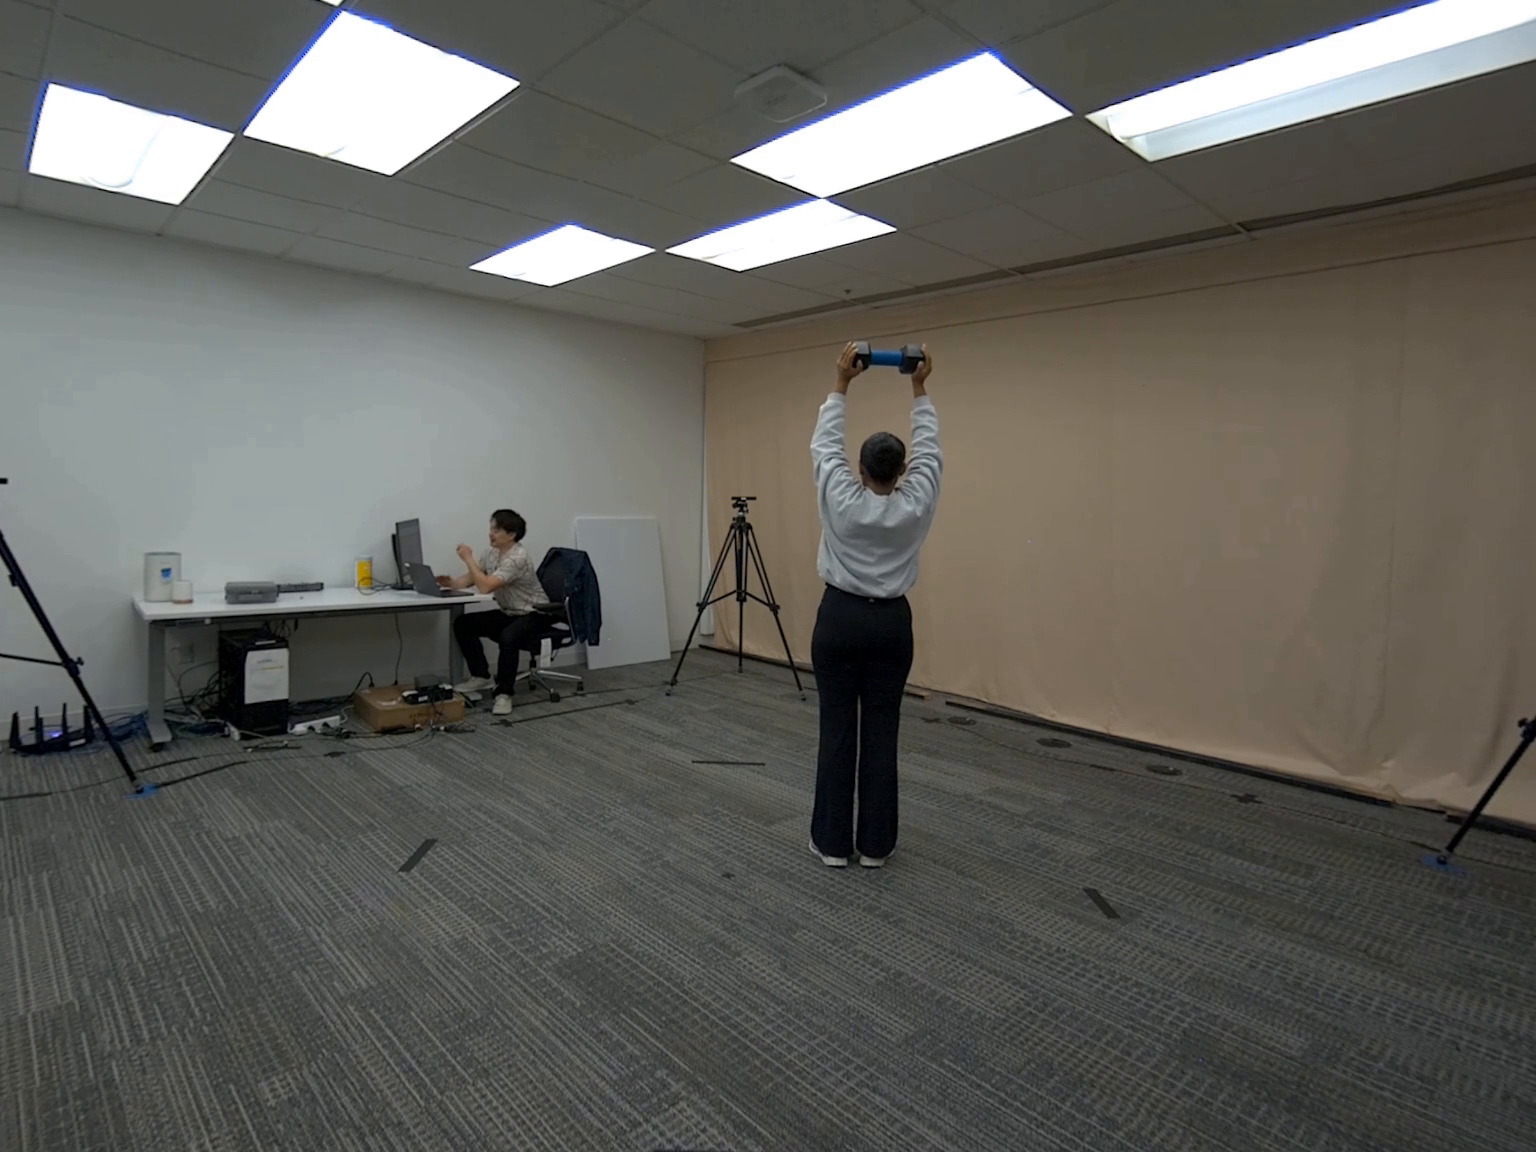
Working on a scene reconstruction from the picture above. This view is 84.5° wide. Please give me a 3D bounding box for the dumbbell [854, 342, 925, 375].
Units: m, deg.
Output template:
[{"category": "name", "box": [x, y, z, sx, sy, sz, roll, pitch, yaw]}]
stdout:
[{"category": "dumbbell", "box": [0.442, -0.848, 3.274, 0.293, 0.125, 0.107, 2, -31, -3]}]
